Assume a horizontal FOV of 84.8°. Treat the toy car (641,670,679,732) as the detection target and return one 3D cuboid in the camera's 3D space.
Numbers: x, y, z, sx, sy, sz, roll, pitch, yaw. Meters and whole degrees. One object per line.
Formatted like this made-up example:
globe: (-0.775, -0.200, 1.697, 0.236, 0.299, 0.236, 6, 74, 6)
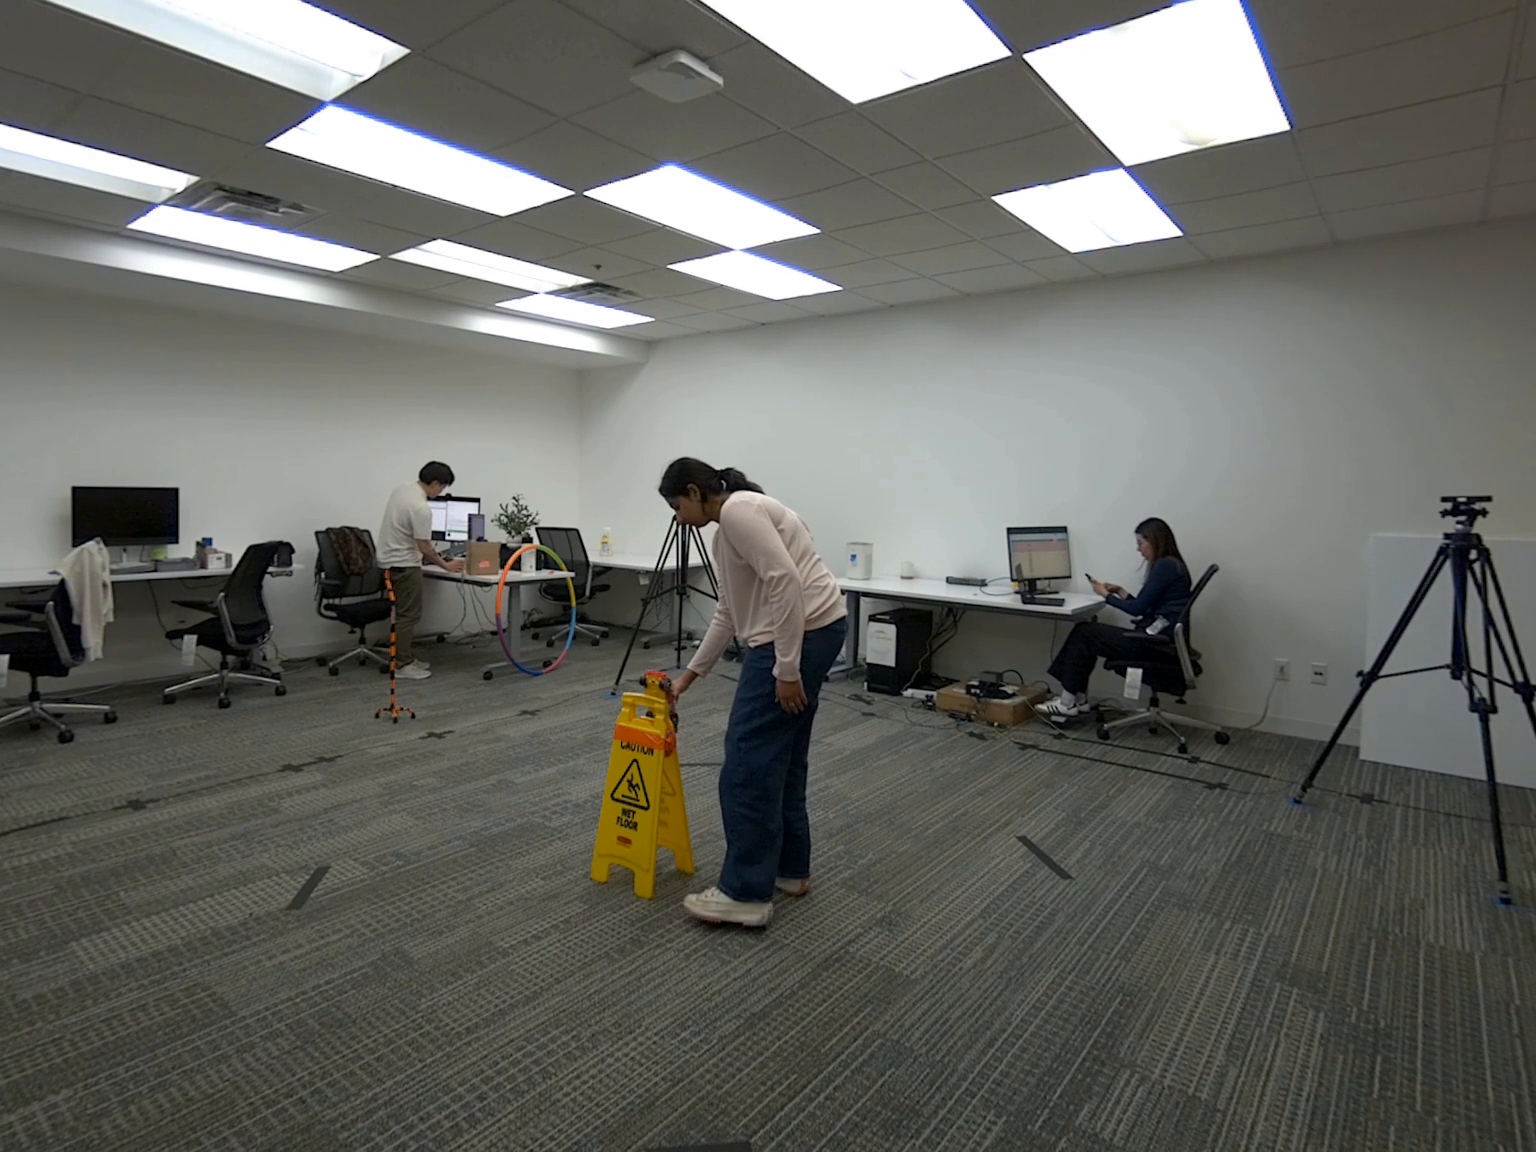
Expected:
toy car: (-0.393, 0.461, 3.038, 0.134, 0.247, 0.083, 2, 30, 30)
